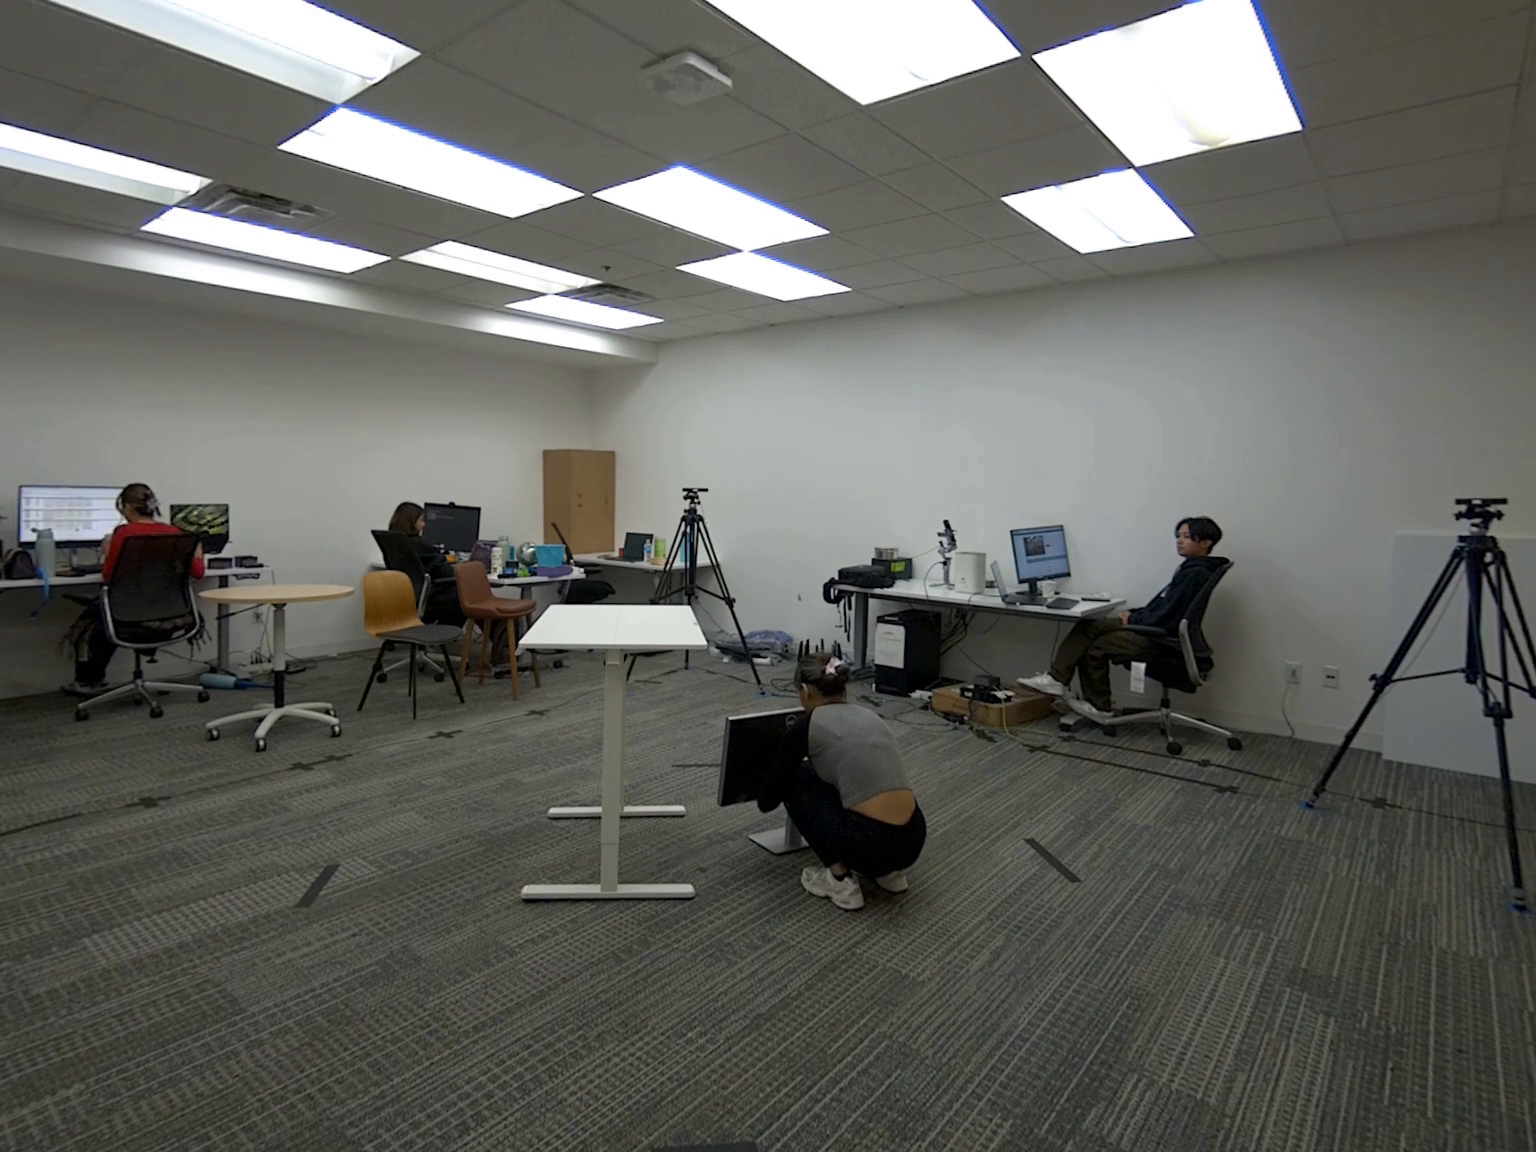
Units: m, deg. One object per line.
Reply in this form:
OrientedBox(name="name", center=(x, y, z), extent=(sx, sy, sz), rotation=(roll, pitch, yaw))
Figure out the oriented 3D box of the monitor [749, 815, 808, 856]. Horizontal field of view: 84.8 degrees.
OrientedBox(name="monitor", center=(0.075, 0.784, 3.369), extent=(0.523, 0.522, 0.193), rotation=(0, 1, -34))
